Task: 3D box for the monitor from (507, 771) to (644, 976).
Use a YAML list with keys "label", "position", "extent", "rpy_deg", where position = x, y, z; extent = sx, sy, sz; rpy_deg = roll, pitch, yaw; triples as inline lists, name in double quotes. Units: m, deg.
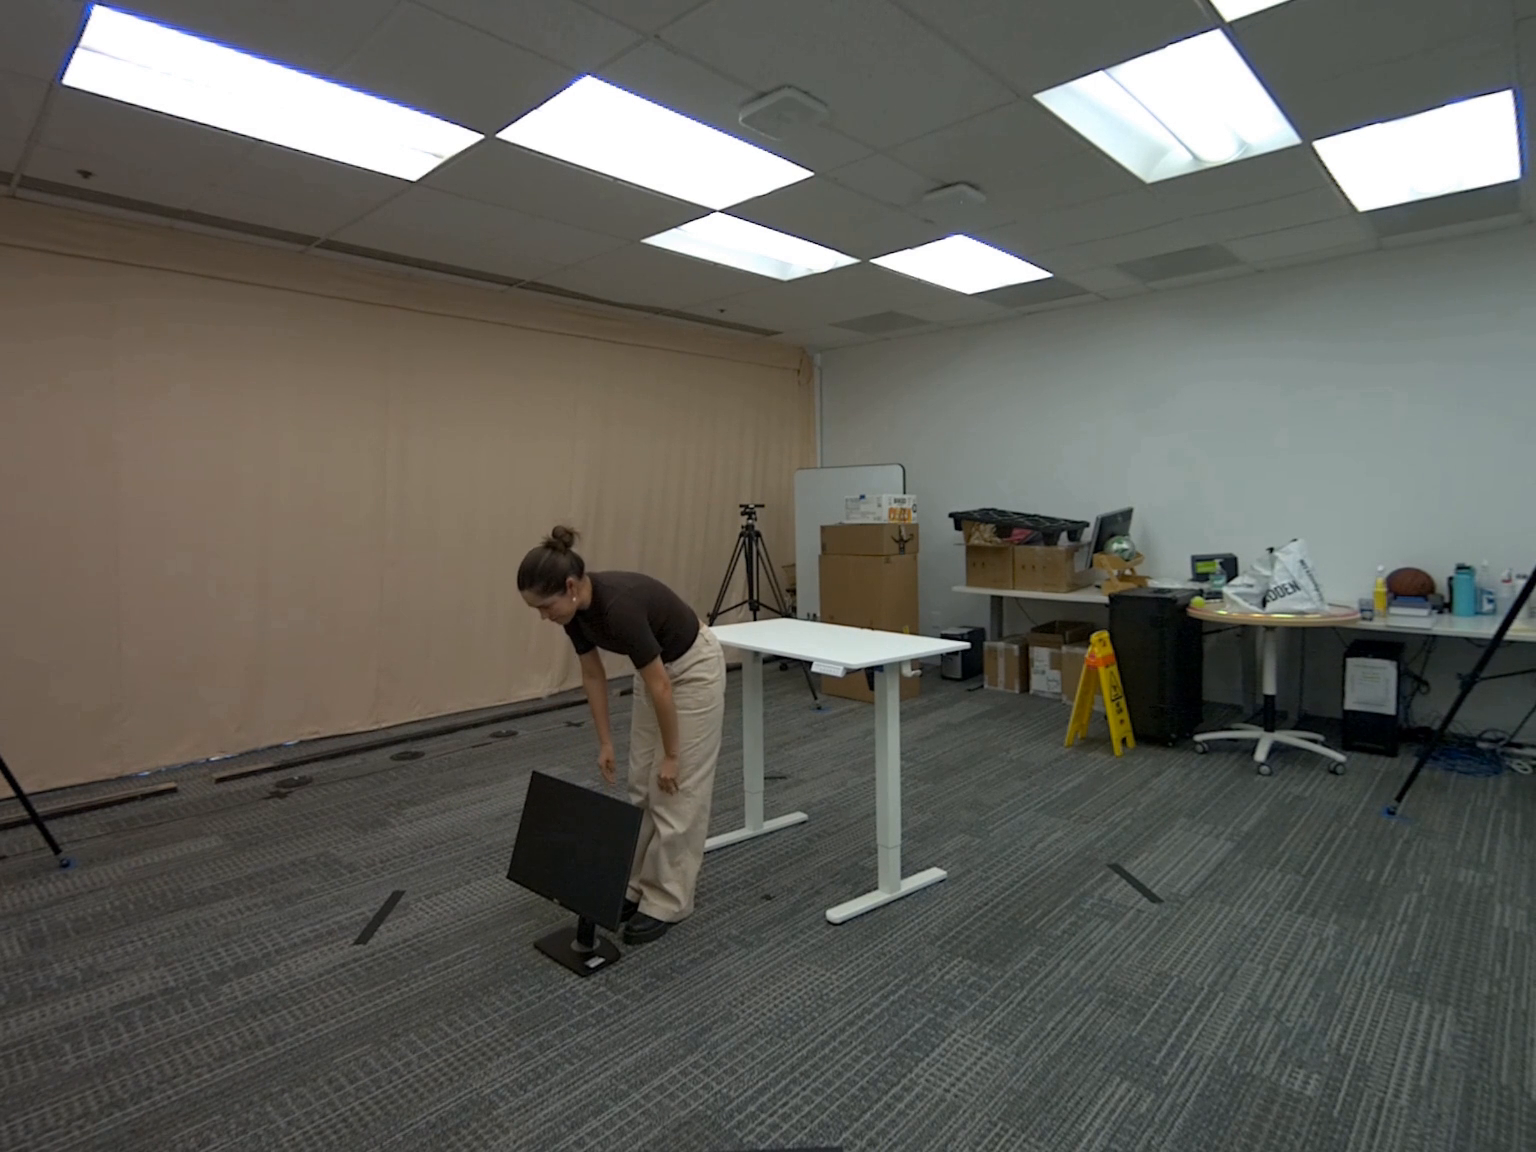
- label: "monitor"
  position: [-0.591, 0.928, 2.637]
  extent: [0.557, 0.522, 0.181]
  rpy_deg: [3, 2, 39]
